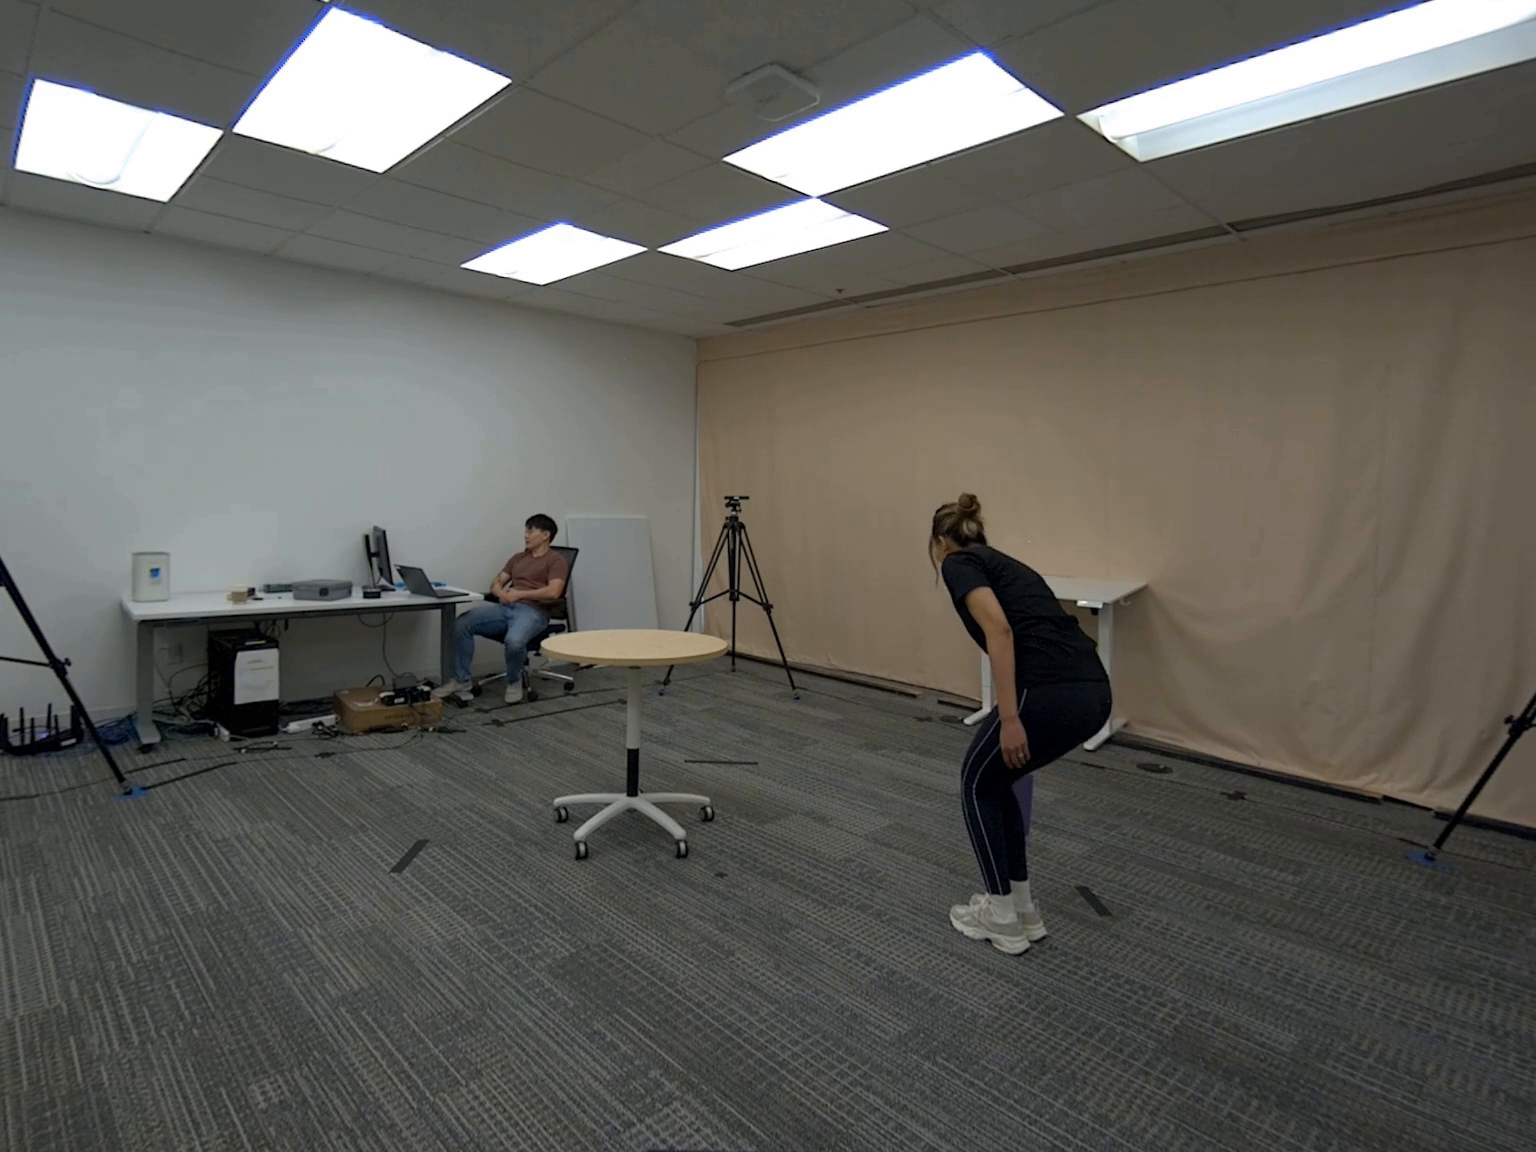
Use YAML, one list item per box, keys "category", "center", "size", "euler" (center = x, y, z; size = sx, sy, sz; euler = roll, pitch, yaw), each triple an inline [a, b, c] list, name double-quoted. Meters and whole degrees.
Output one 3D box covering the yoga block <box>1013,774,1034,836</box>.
- category: "yoga block"
  center: [0.872, 0.813, 3.051]
  size: [0.151, 0.229, 0.075]
  euler: [3, 2, 17]
